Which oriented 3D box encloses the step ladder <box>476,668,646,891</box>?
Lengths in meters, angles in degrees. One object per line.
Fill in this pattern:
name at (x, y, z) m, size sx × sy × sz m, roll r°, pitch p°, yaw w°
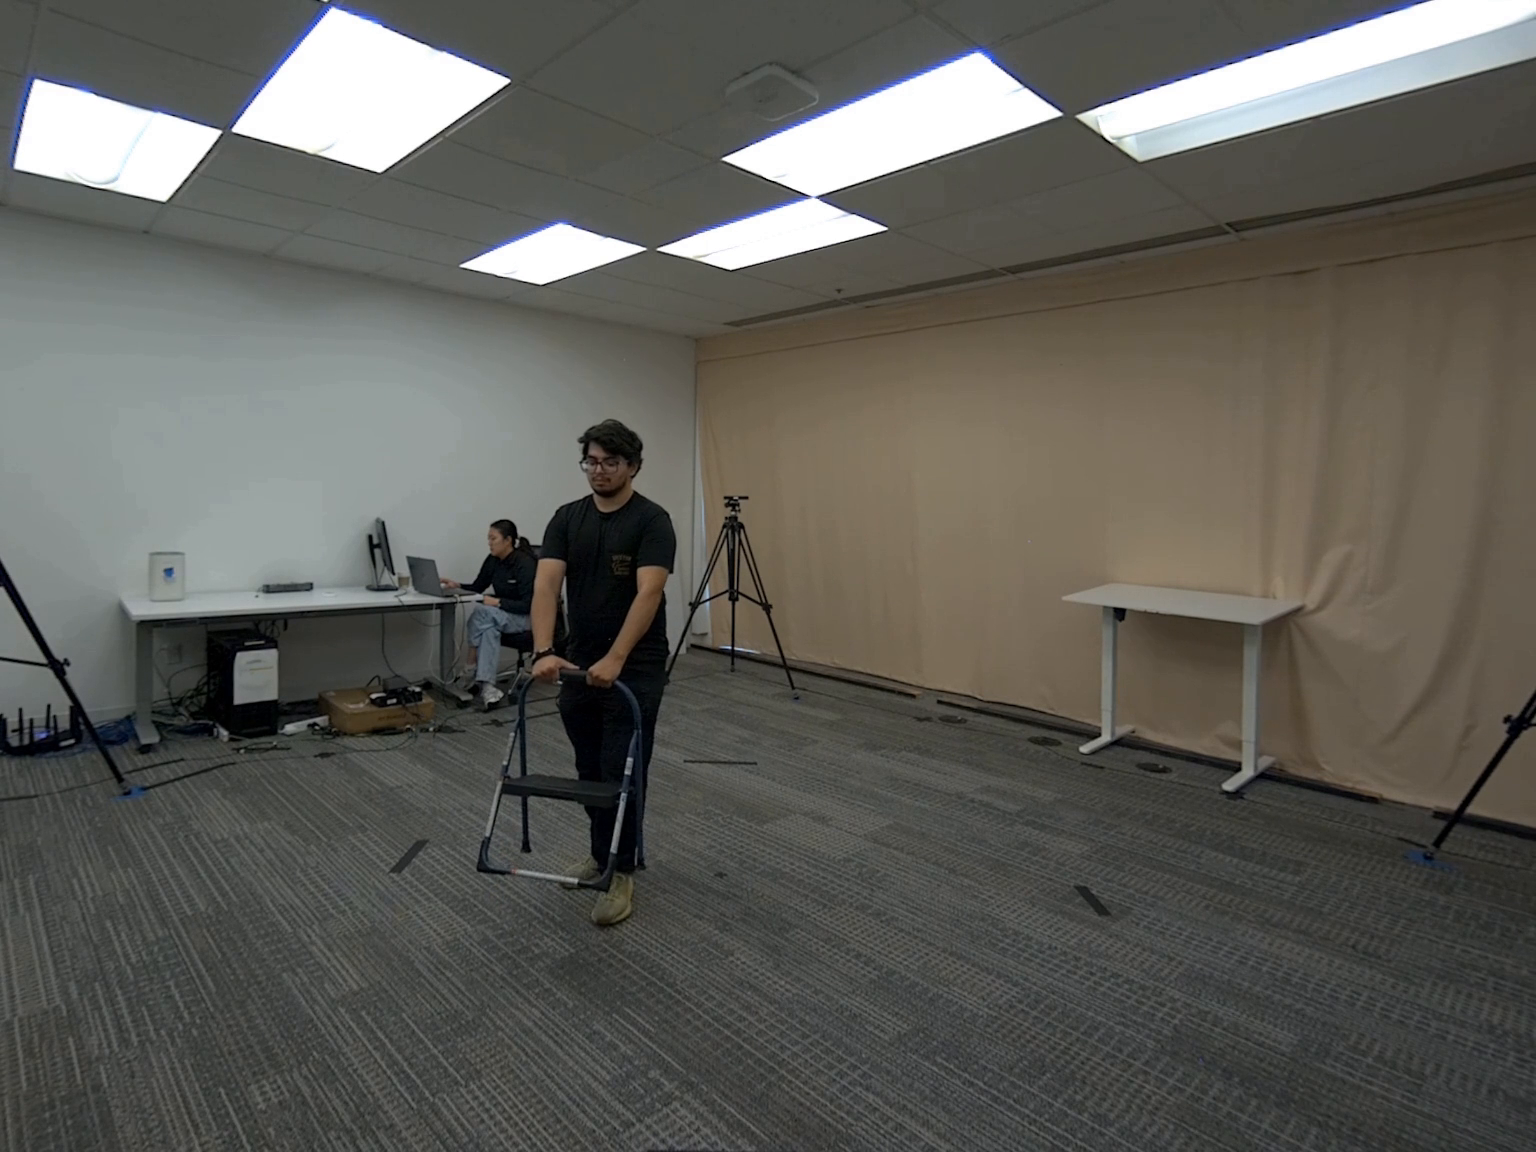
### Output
step ladder at (-0.611, 0.609, 2.618) m, size 0.435 × 0.609 × 0.344 m, roll 3°, pitch -8°, yaw 11°
